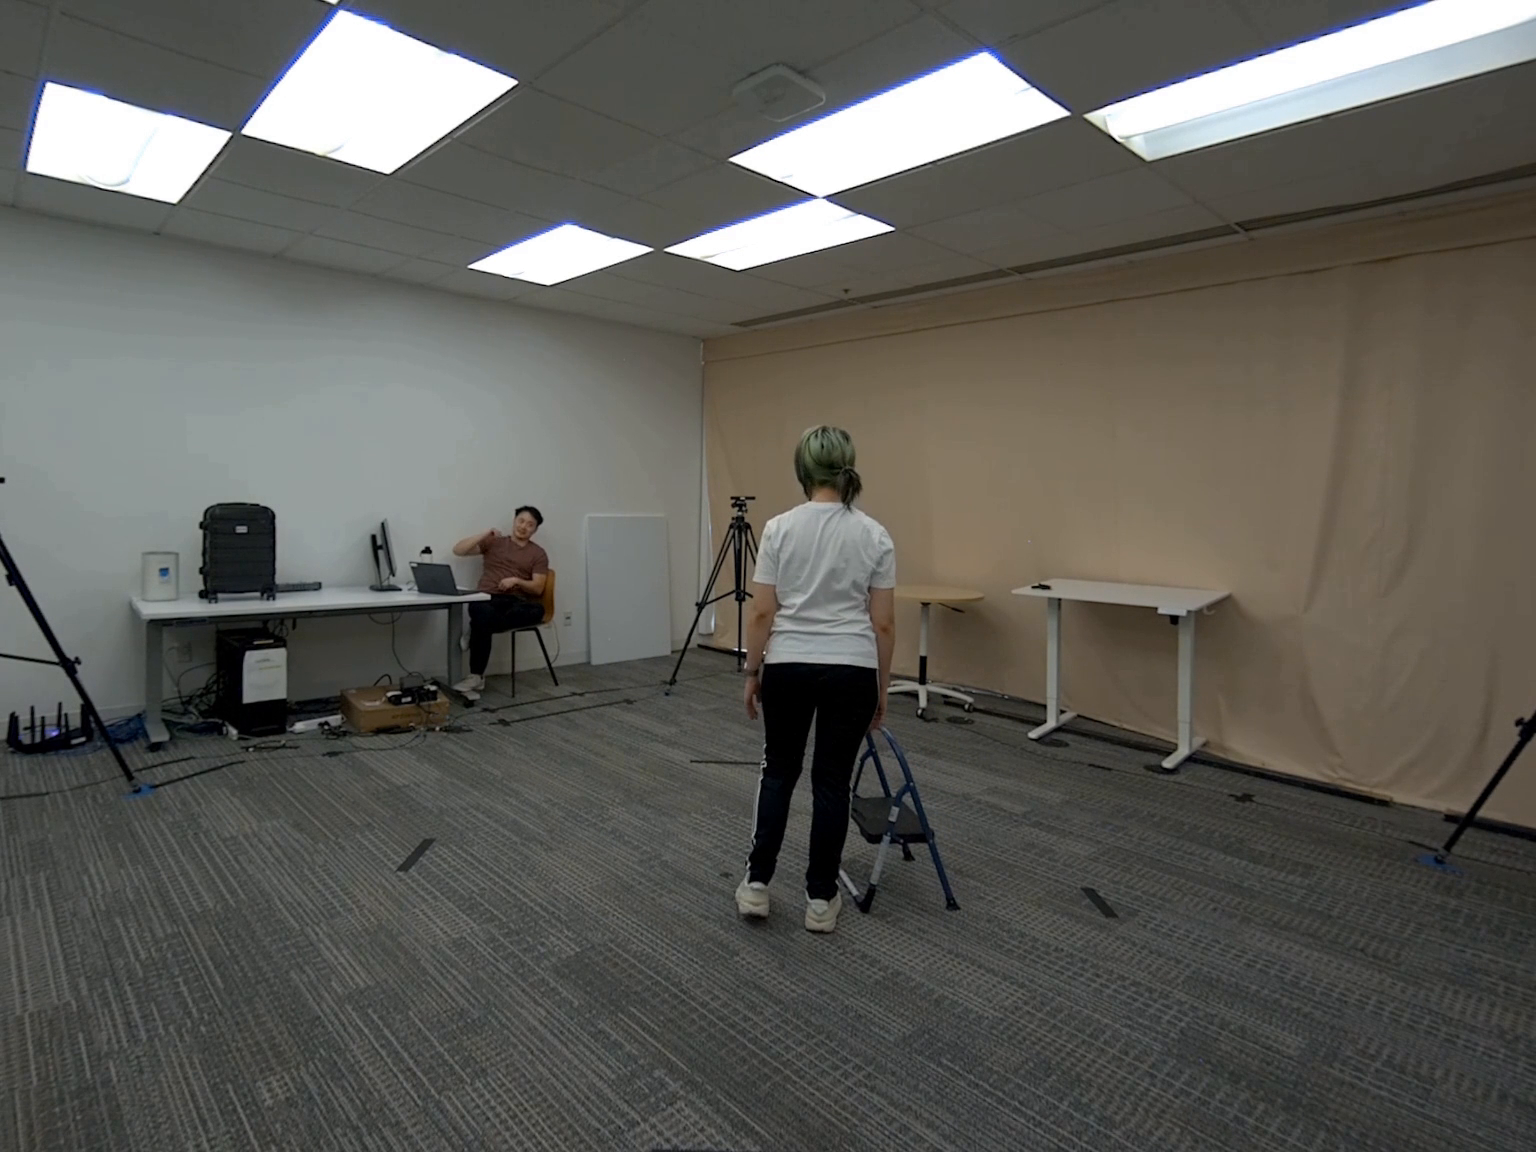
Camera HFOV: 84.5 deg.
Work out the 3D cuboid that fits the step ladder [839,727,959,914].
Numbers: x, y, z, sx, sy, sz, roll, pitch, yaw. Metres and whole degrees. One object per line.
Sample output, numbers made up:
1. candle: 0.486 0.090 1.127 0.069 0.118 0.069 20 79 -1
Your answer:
1. step ladder: 0.443 0.823 3.050 0.346 0.604 0.436 1 4 -12
